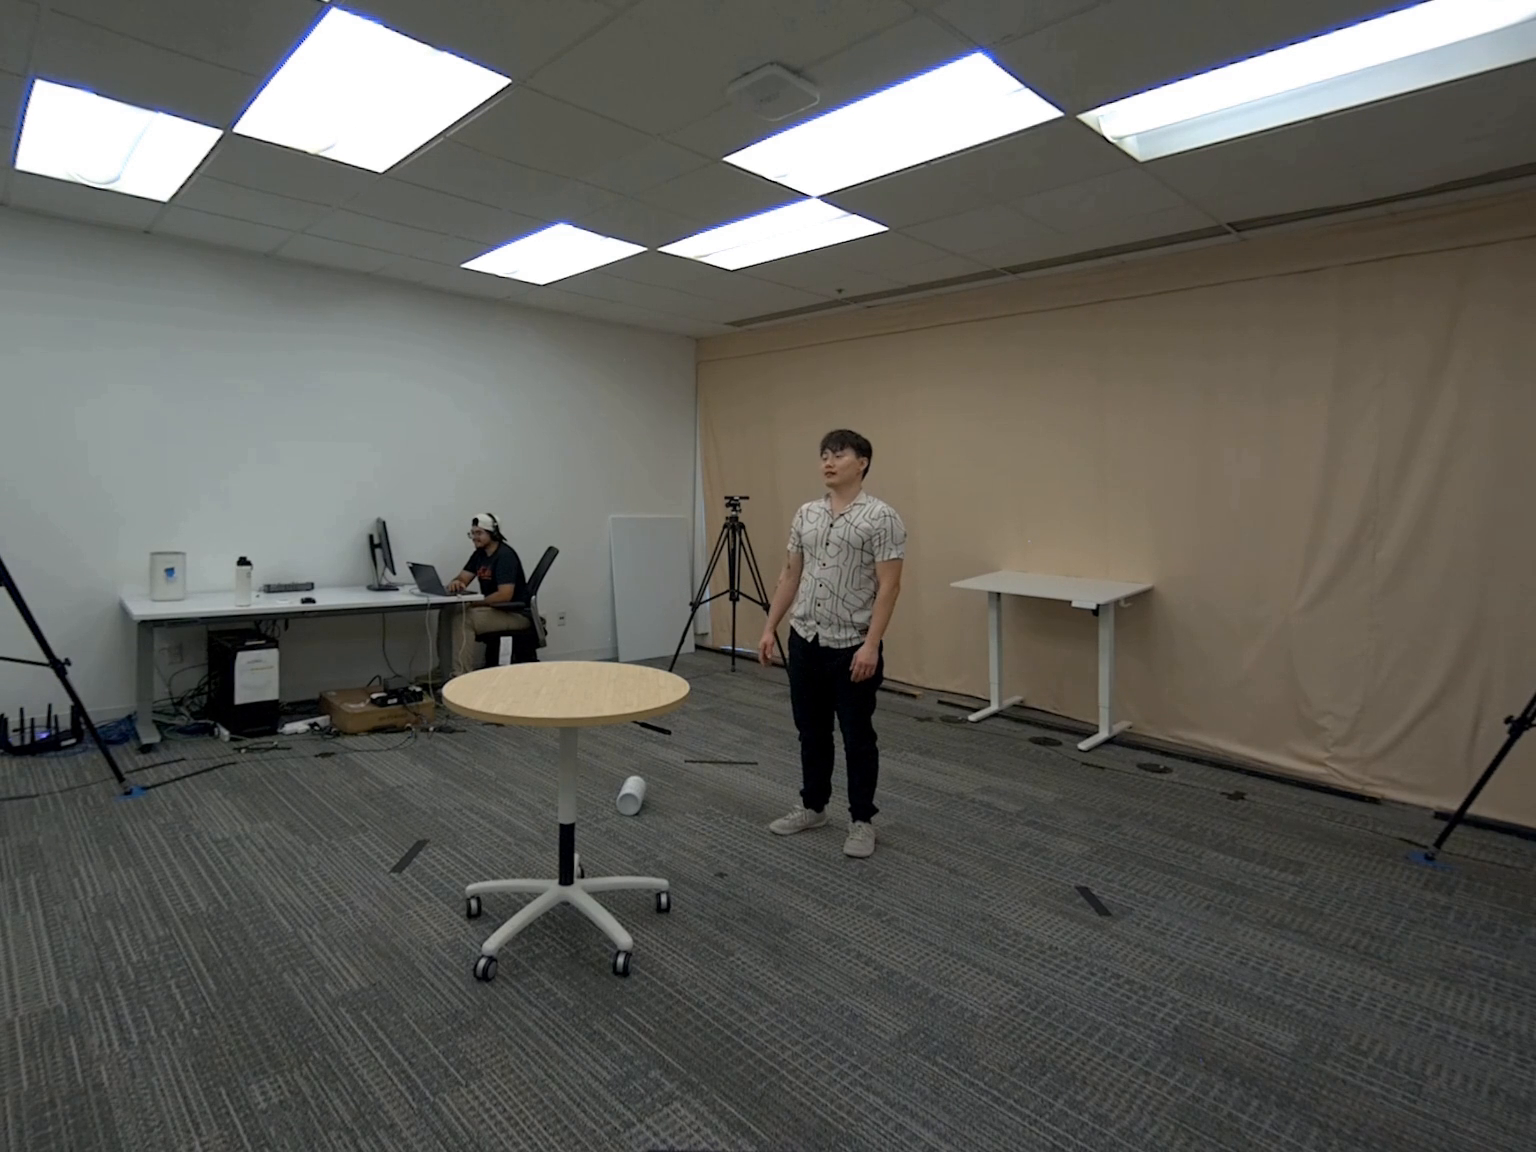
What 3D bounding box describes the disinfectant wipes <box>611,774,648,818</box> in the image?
[{"bbox_3d":[-0.615,0.970,3.757,0.118,0.117,0.217,1,3,1],"label":"disinfectant wipes"}]
